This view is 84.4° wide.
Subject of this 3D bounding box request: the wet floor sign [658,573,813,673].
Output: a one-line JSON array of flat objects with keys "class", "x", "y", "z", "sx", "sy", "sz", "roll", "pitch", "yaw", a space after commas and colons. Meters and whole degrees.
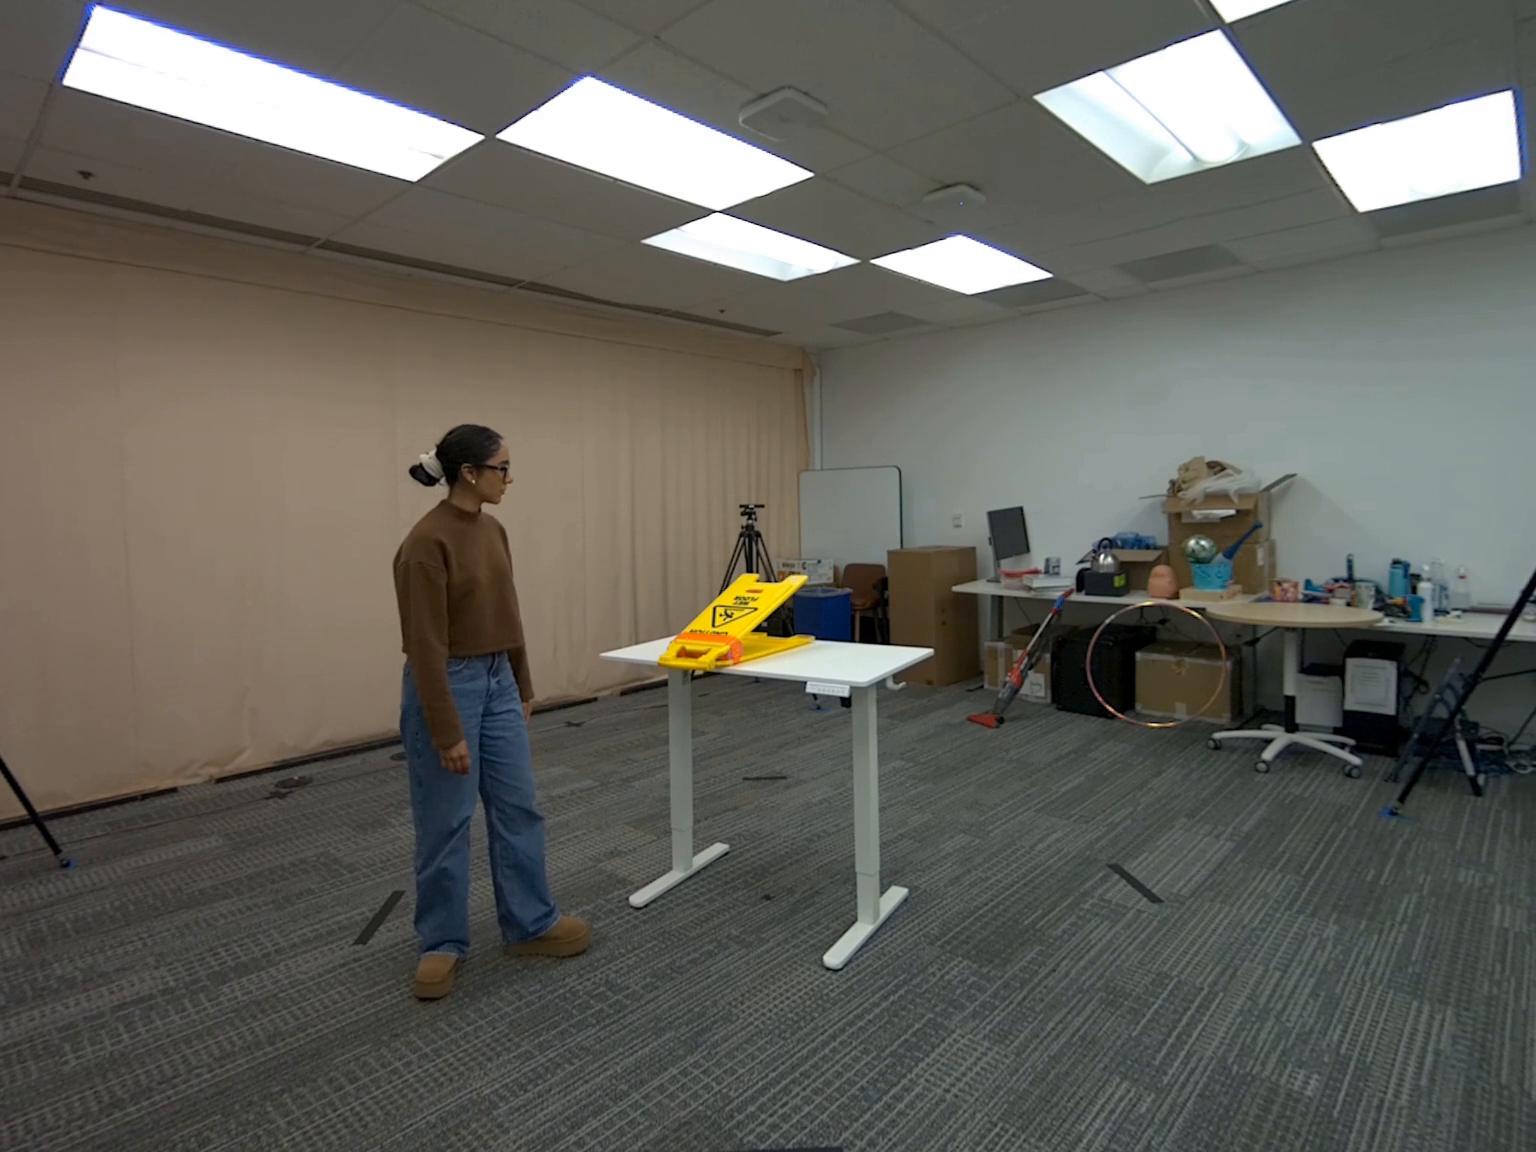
[{"class": "wet floor sign", "x": -0.111, "y": 0.200, "z": 2.887, "sx": 0.290, "sy": 0.287, "sz": 0.633, "roll": 1, "pitch": 14, "yaw": 30}]
